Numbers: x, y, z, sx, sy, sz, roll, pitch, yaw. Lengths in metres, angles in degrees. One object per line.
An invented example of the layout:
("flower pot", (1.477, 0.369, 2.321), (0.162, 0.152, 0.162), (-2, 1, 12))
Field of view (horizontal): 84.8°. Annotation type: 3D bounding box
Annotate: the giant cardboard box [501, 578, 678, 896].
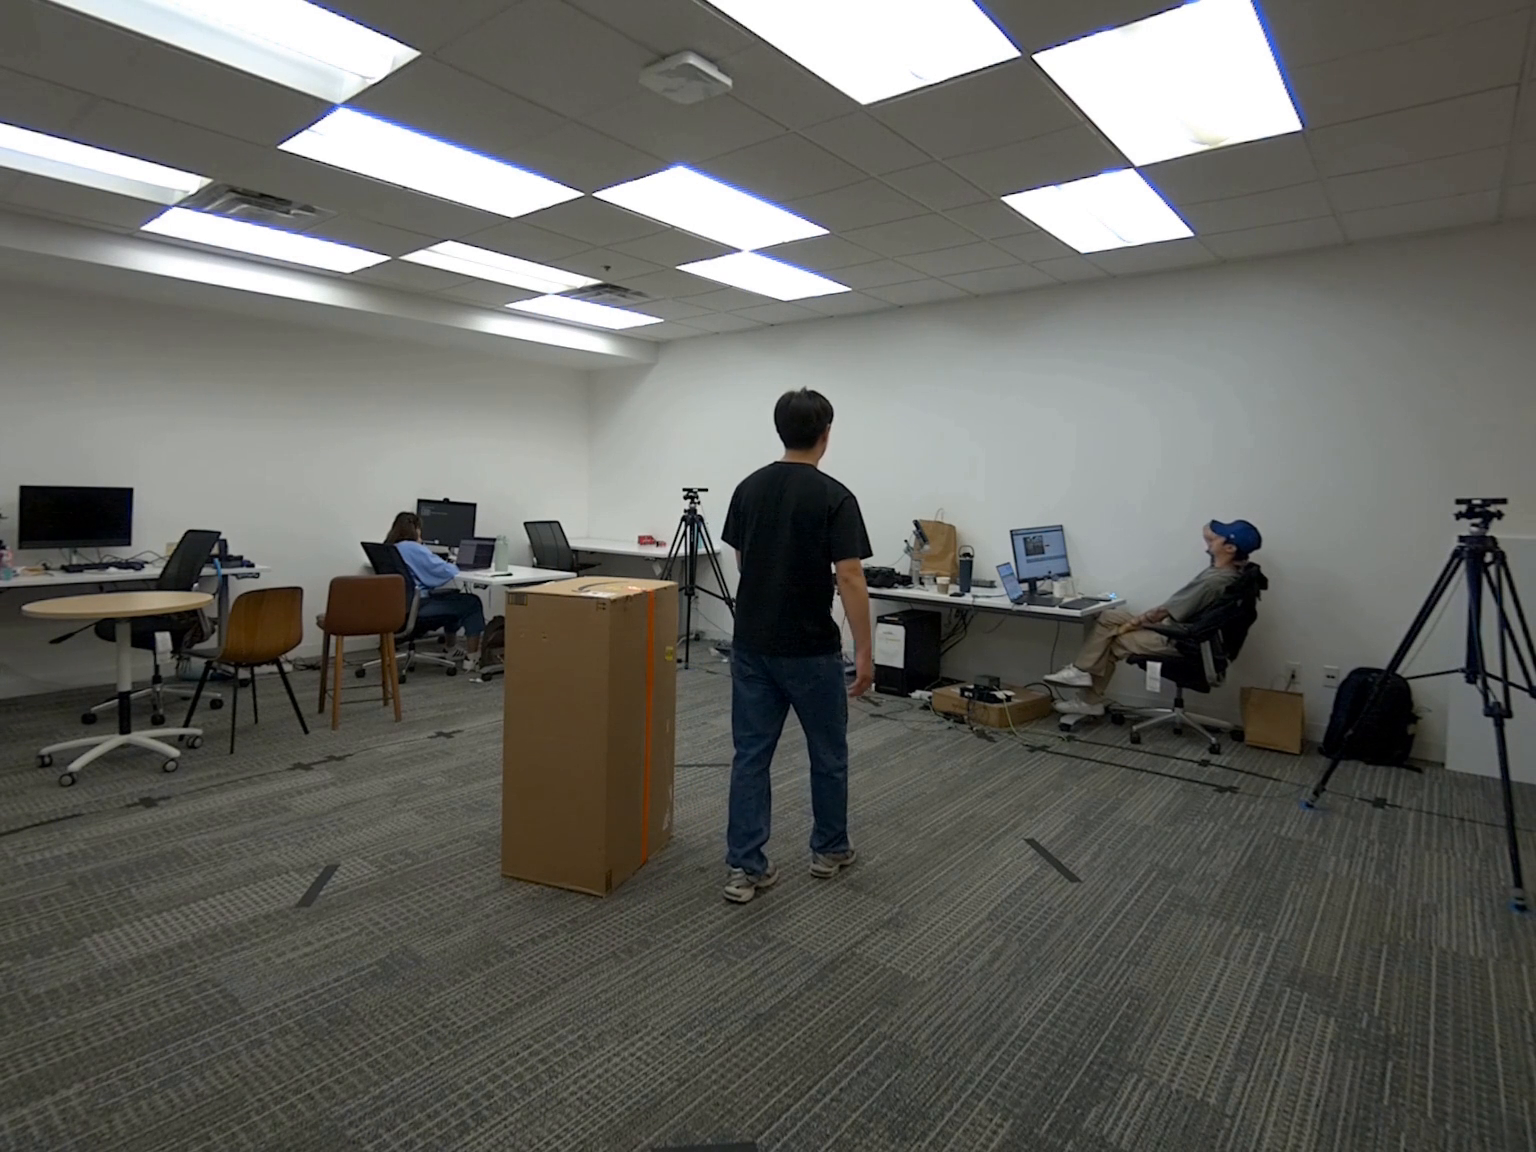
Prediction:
("giant cardboard box", (-0.663, 0.542, 3.195), (0.457, 1.024, 0.572), (3, 3, 20))
